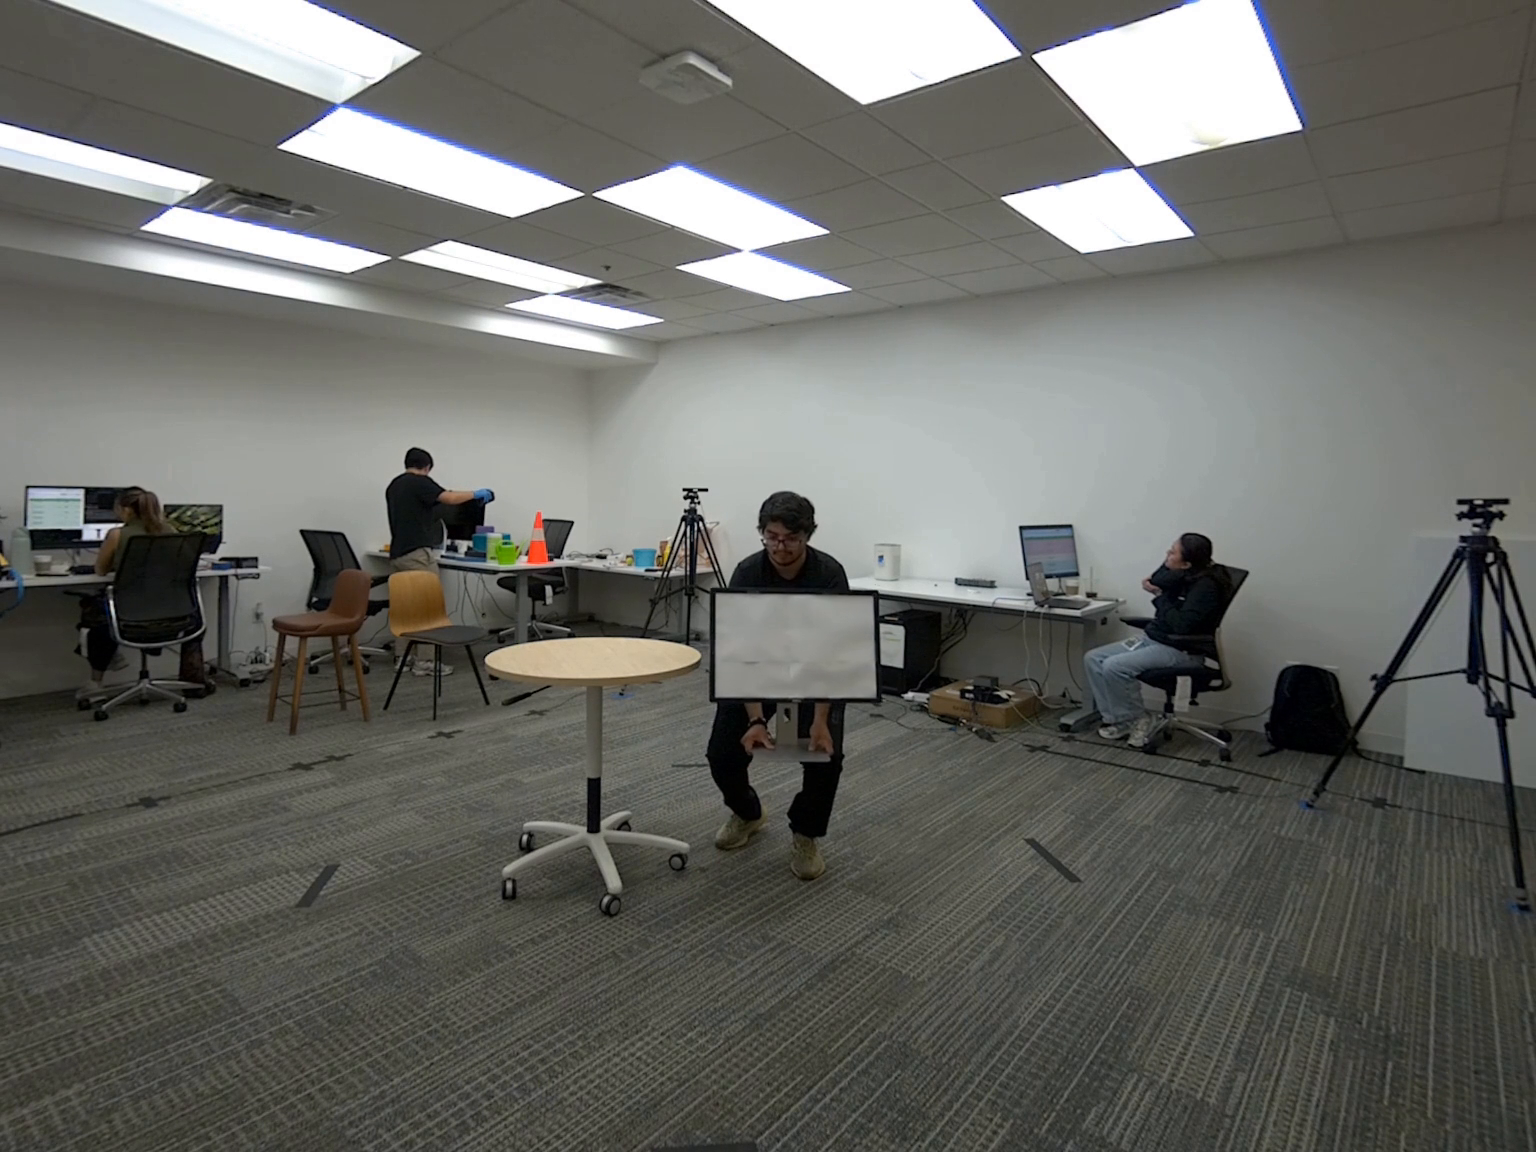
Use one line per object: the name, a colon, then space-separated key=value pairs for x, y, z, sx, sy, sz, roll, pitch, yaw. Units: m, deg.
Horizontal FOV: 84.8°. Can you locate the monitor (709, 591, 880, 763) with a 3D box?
monitor: x=0.071 y=0.310 z=2.810 sx=0.561 sy=0.555 sz=0.211 roll=2 pitch=-2 yaw=-6
